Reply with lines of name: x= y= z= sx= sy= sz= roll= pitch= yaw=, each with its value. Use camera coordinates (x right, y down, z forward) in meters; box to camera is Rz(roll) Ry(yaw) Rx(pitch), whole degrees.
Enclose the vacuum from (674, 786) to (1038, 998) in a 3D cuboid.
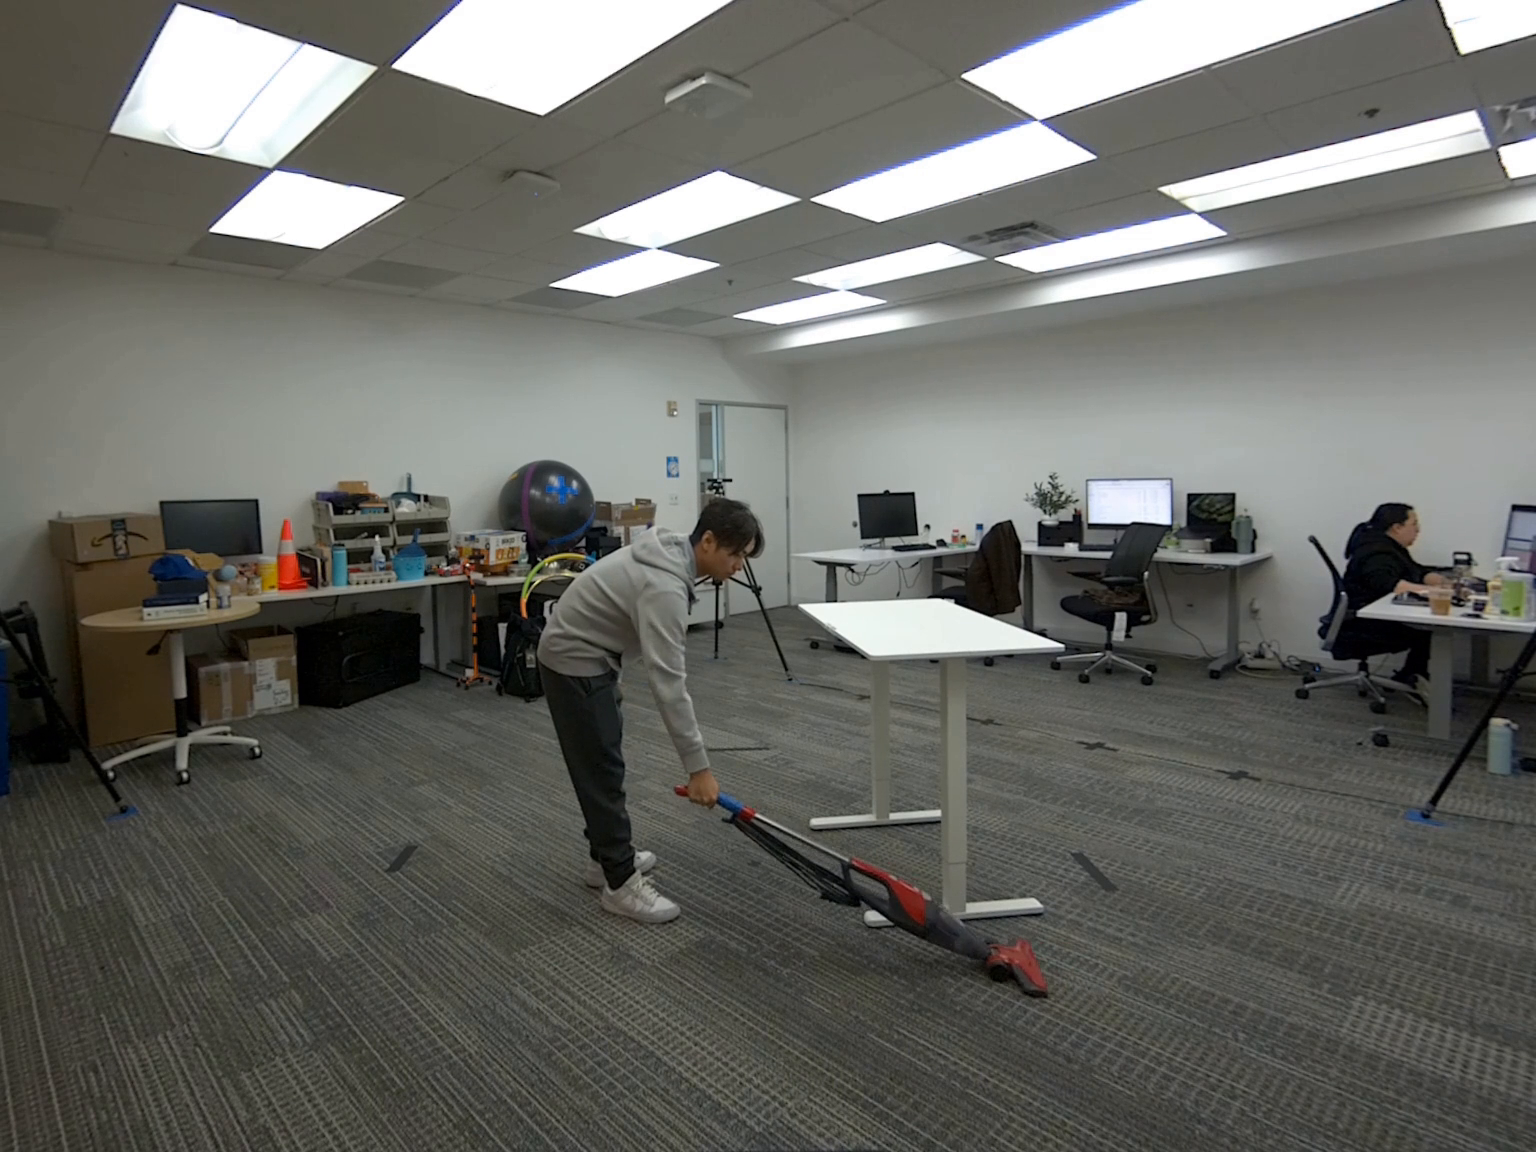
vacuum: x=0.206 y=0.853 z=2.476 sx=1.059 sy=0.143 sz=0.251 roll=26 pitch=9 yaw=7
